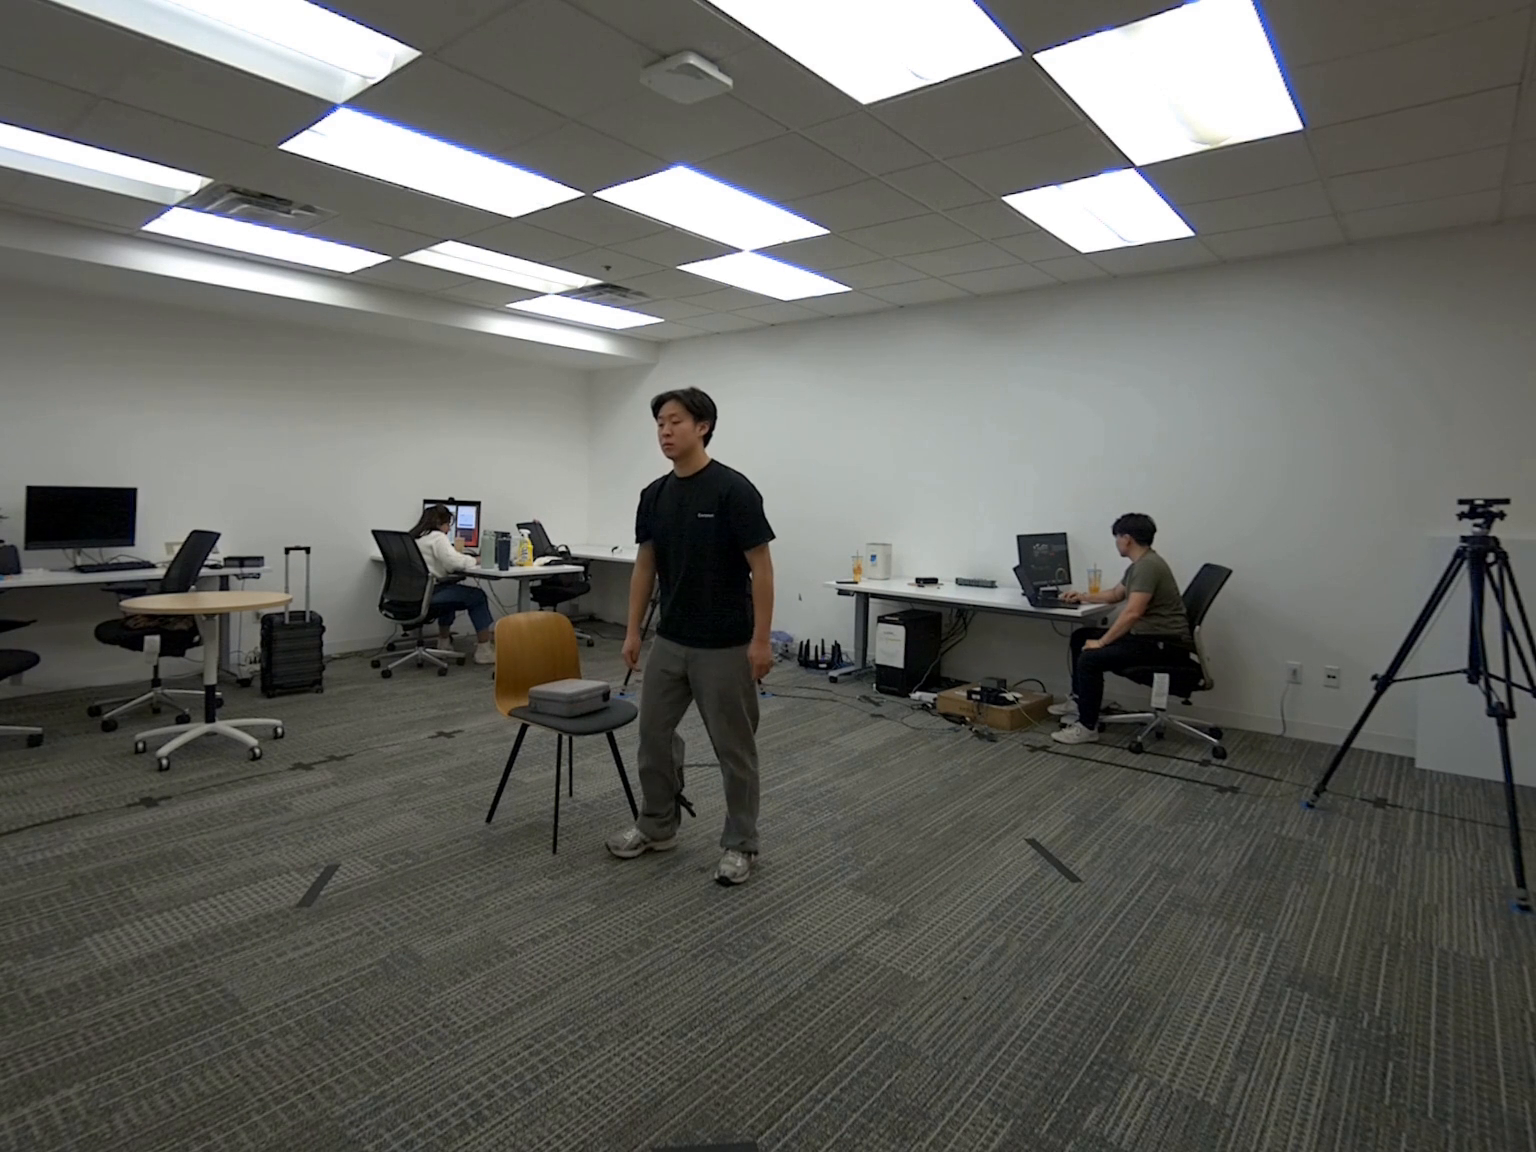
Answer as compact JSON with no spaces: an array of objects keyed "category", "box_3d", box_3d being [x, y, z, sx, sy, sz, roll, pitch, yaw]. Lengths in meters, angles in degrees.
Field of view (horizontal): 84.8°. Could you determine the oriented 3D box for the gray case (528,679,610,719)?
[{"category":"gray case","box_3d":[-0.836,0.496,3.473,0.296,0.103,0.256,0,3,34]}]
